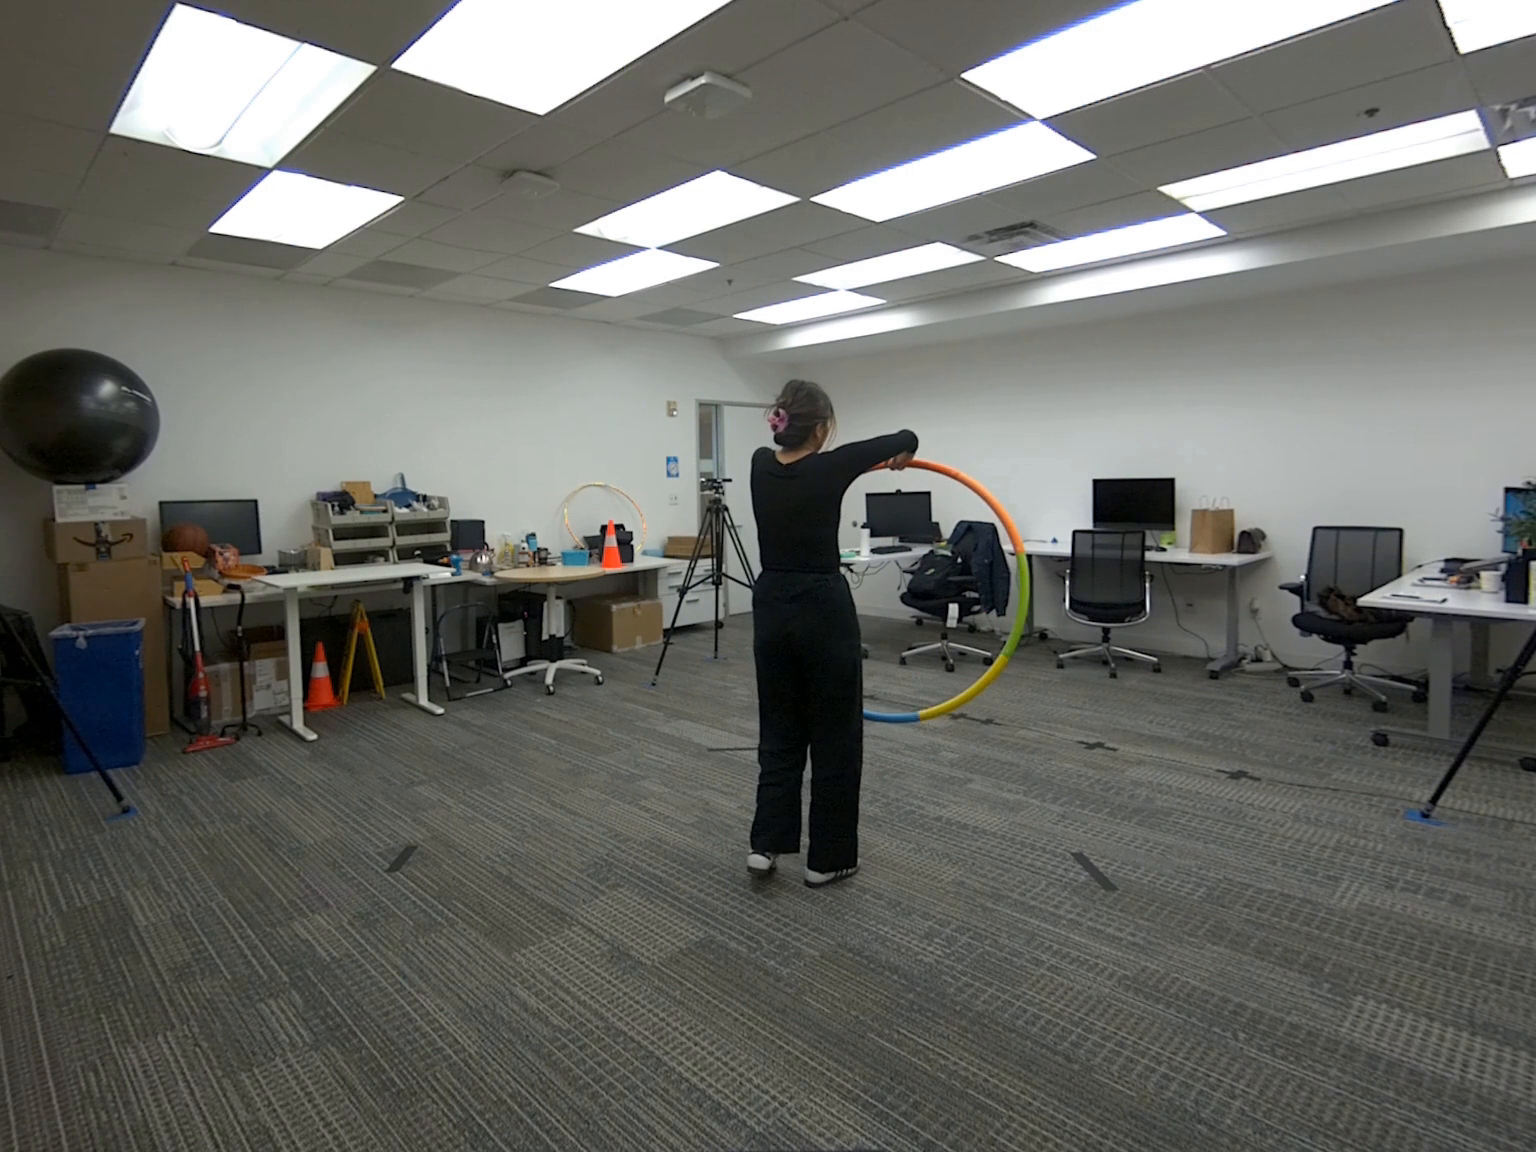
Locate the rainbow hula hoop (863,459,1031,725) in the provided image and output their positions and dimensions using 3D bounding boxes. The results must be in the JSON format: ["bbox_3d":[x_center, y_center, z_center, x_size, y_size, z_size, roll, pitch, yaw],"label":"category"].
[{"bbox_3d":[0.455,0.040,3.201,1.010,0.993,0.050,1,-11,28],"label":"rainbow hula hoop"}]
